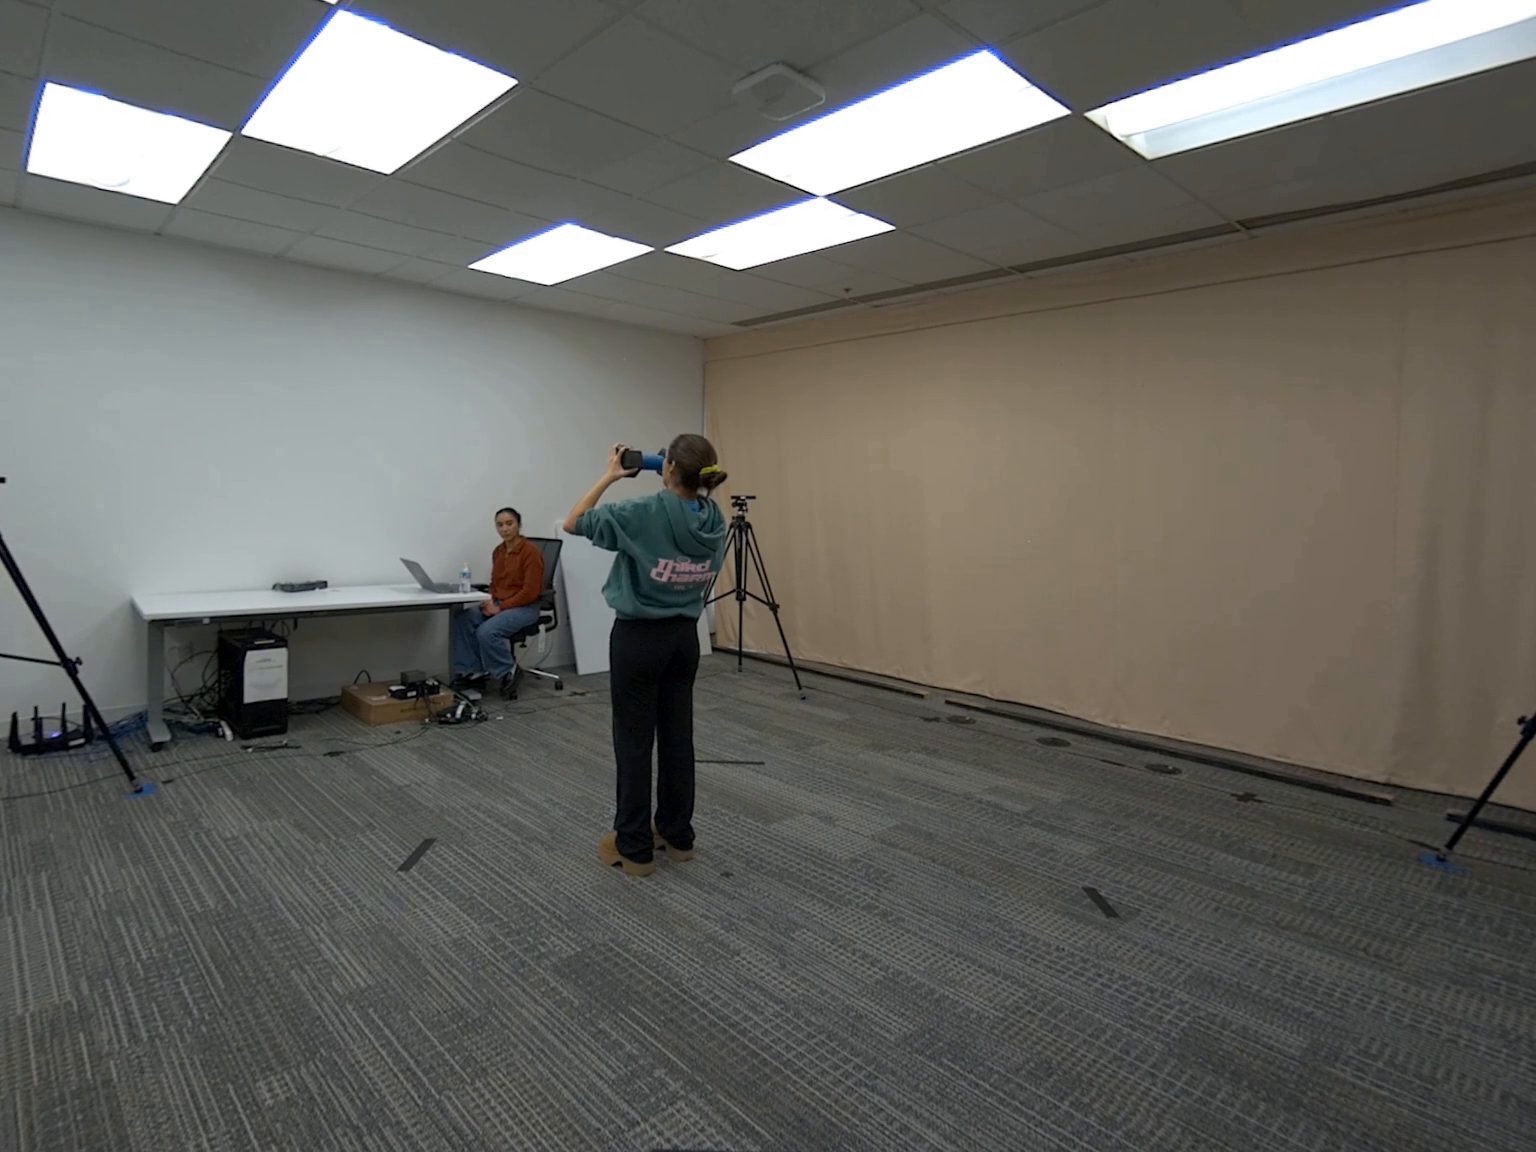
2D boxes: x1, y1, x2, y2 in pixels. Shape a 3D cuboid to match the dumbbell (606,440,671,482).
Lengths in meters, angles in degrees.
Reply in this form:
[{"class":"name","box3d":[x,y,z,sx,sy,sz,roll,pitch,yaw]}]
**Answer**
[{"class":"dumbbell","box3d":[-0.454,-0.433,3.207,0.110,0.123,0.287,-13,-5,42]}]
